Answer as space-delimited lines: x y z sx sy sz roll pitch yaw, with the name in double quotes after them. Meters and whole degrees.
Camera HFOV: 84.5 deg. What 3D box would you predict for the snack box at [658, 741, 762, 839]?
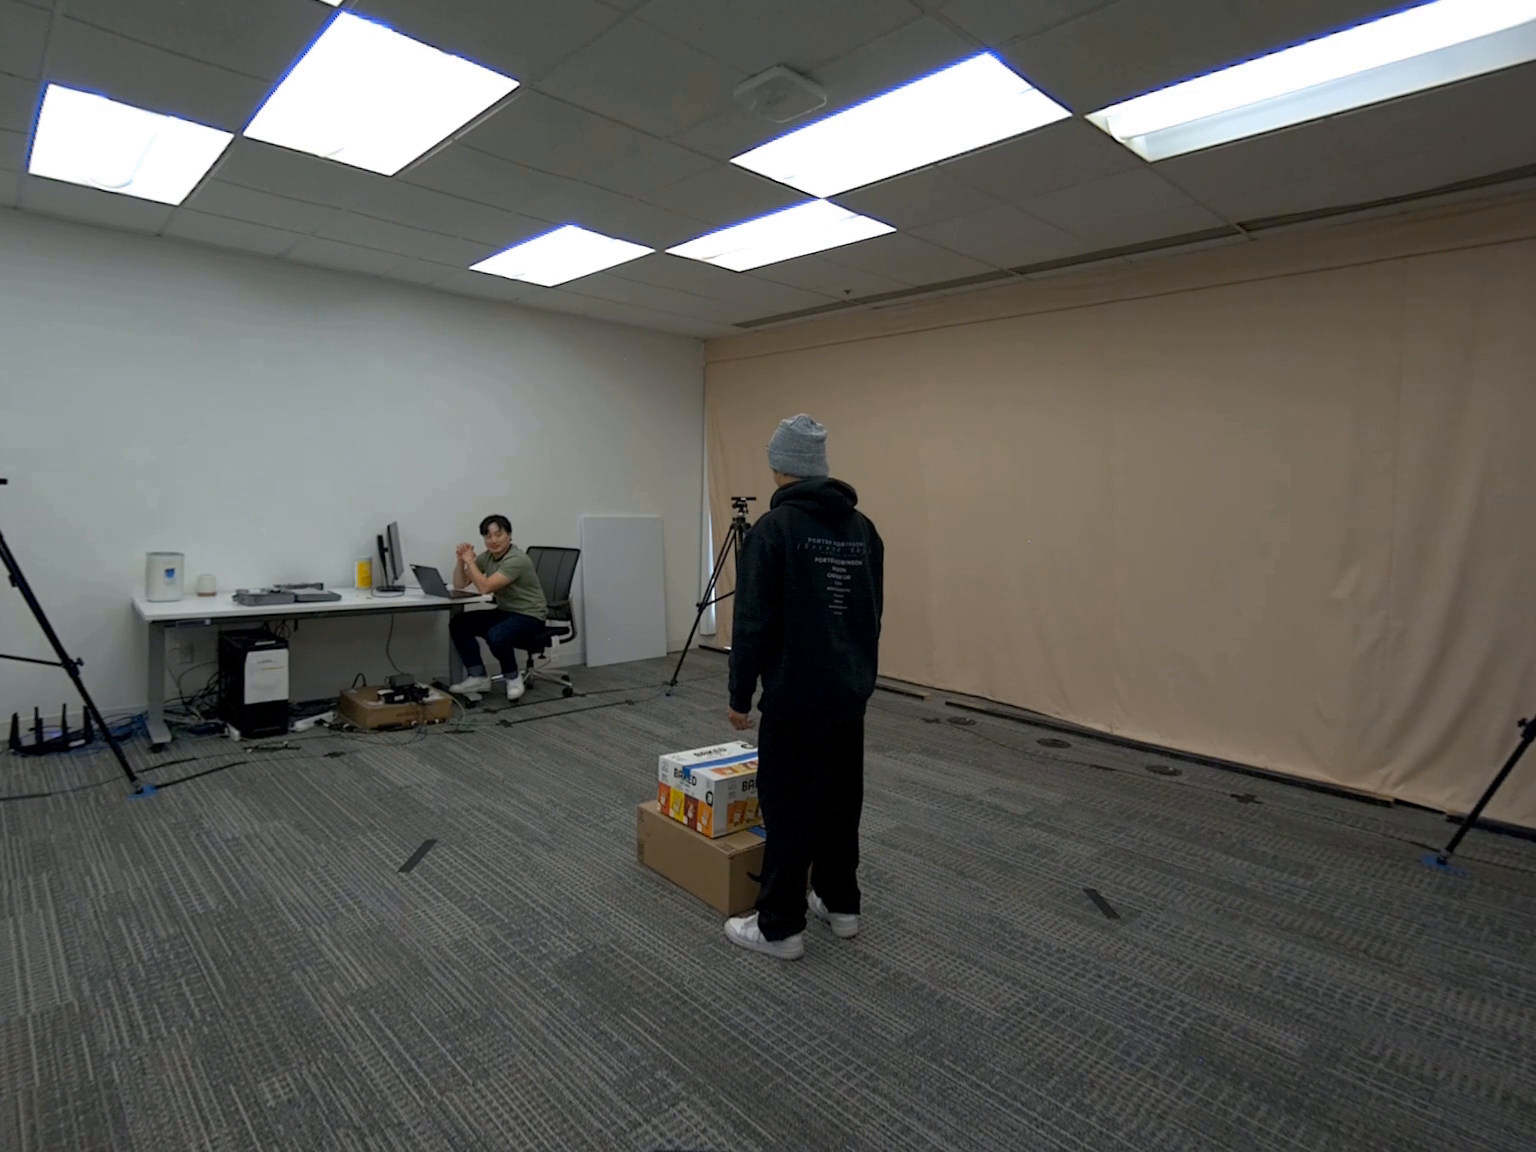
-0.157 0.785 3.139 0.396 0.205 0.349 -1 5 -41 "snack box"
